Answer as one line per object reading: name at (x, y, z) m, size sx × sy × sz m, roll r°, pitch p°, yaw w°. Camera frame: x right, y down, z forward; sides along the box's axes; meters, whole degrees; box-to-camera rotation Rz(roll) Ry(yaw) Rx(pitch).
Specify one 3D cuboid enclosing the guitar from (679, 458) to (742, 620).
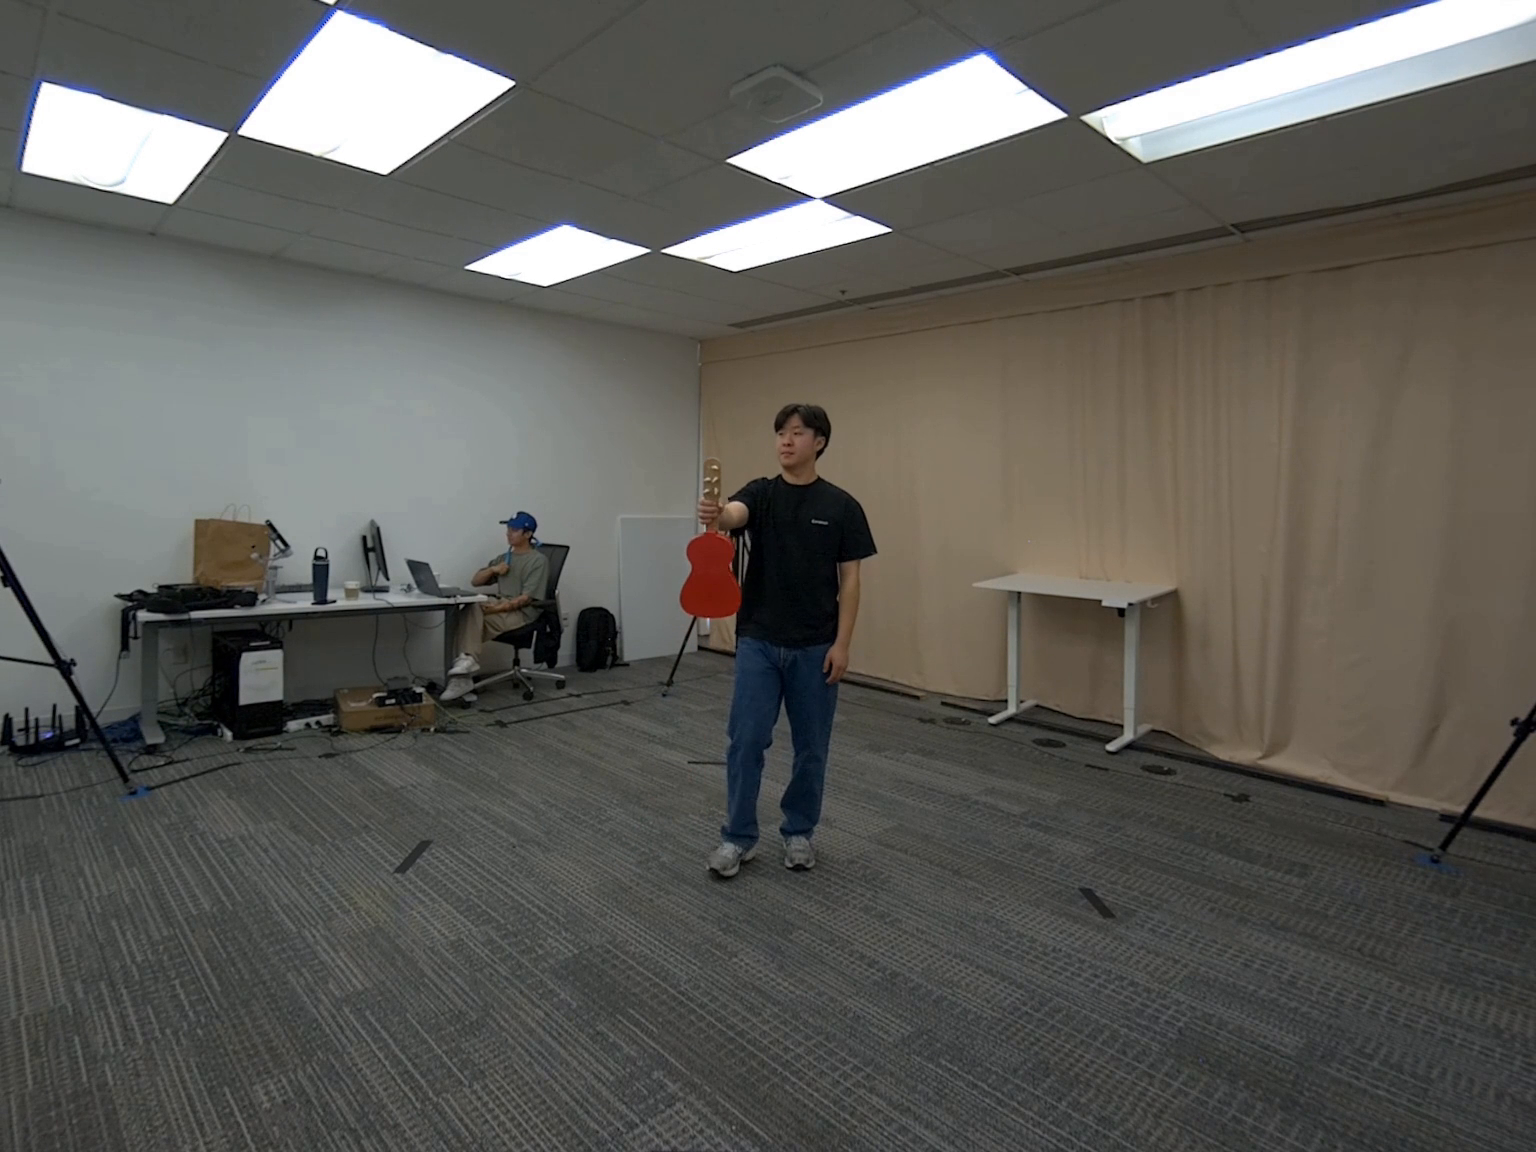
guitar at (-0.213, -0.108, 2.639) m, size 0.194 × 0.493 × 0.071 m, roll -6°, pitch 10°, yaw 6°
